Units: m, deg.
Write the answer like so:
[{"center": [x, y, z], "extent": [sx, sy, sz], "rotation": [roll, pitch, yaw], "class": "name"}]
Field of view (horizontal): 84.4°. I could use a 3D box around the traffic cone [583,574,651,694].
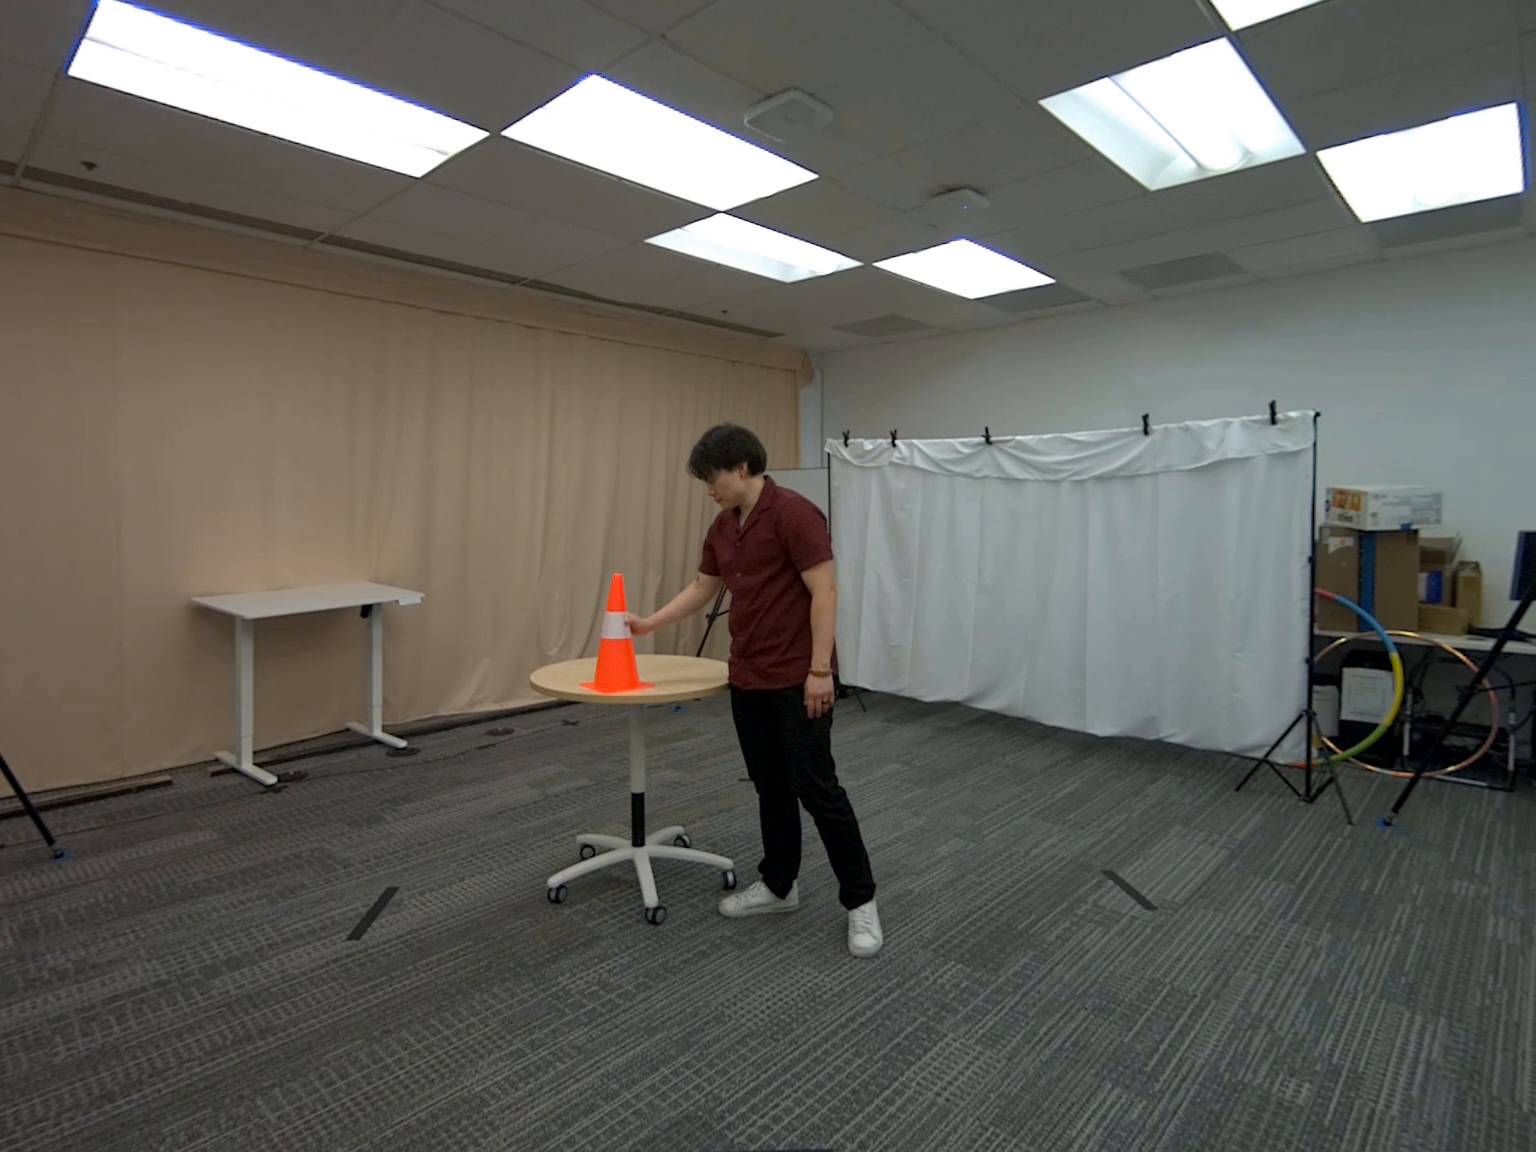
[{"center": [-0.511, 0.188, 2.860], "extent": [0.210, 0.383, 0.199], "rotation": [4, 4, 33], "class": "traffic cone"}]
